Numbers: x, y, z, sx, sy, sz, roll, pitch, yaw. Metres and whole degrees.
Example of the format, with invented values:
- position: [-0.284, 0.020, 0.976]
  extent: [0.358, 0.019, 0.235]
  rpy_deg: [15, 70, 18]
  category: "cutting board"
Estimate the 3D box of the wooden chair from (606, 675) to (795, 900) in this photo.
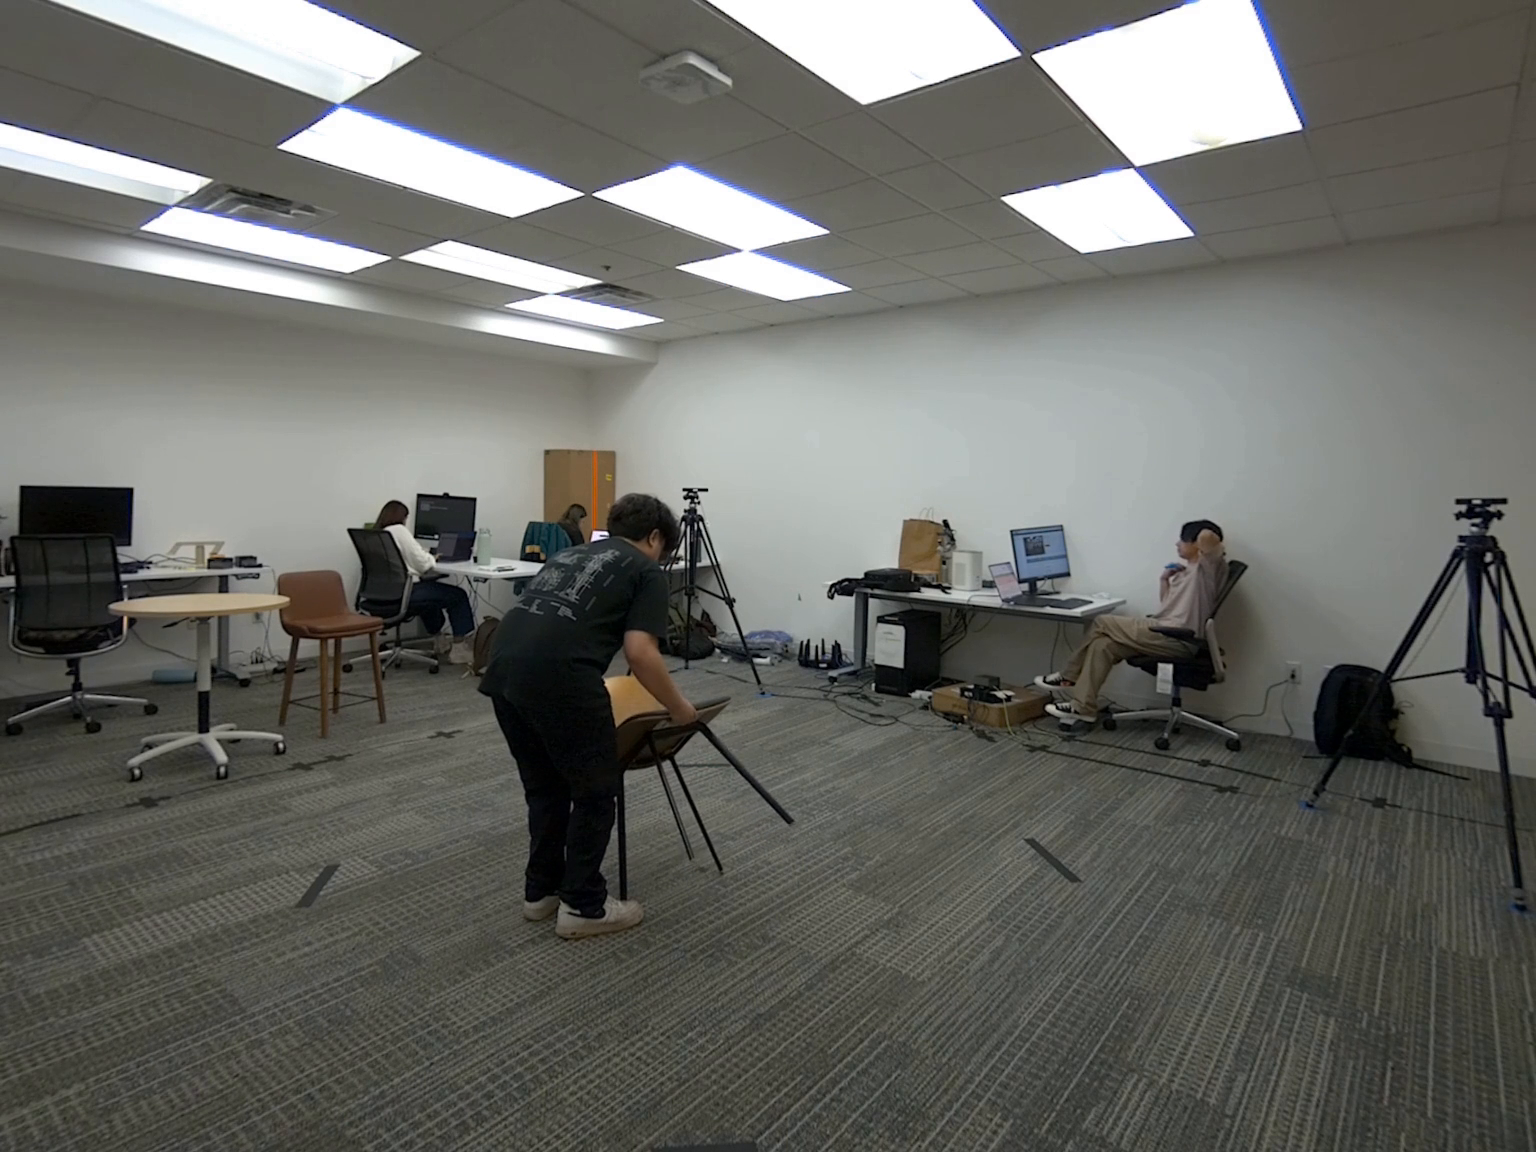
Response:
- position: [-0.378, 0.596, 2.983]
  extent: [0.463, 0.908, 0.521]
  rpy_deg: [-2, -39, -44]
  category: "wooden chair"
